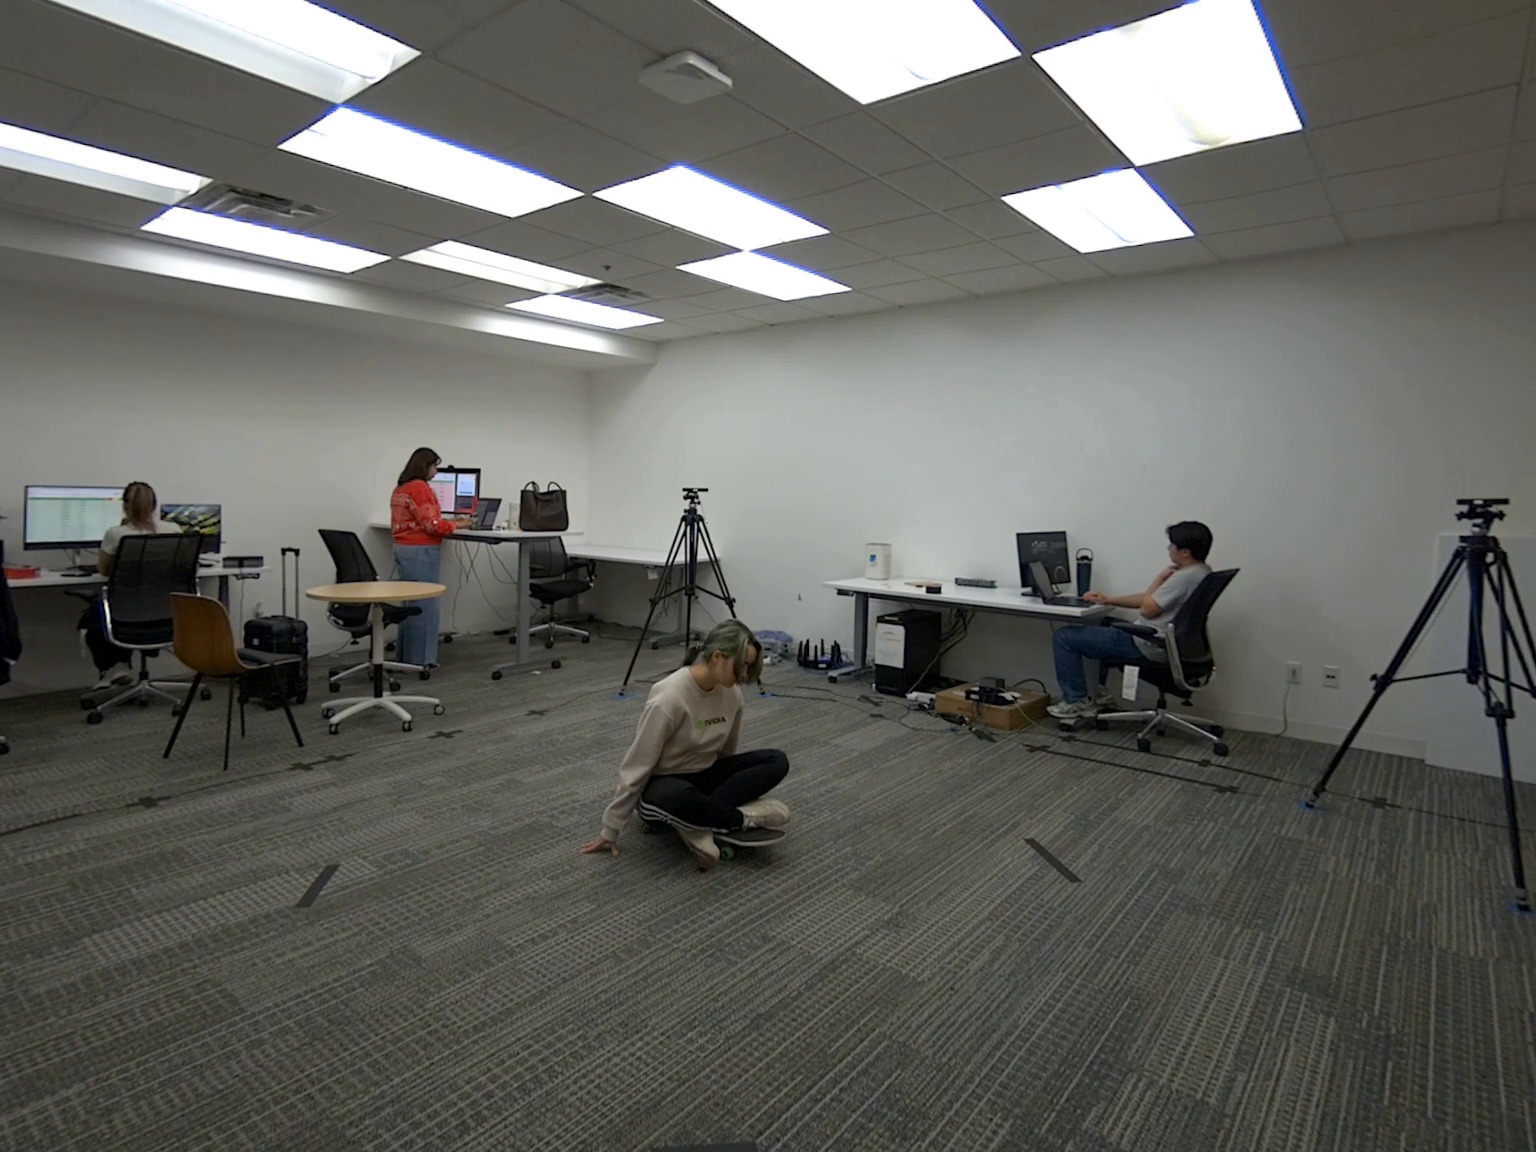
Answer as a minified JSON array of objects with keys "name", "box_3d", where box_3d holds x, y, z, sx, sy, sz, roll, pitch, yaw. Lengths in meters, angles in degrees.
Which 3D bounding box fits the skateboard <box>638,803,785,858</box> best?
[{"name":"skateboard","box_3d":[-0.273,0.988,3.380,0.810,0.110,0.188,4,3,35]}]
